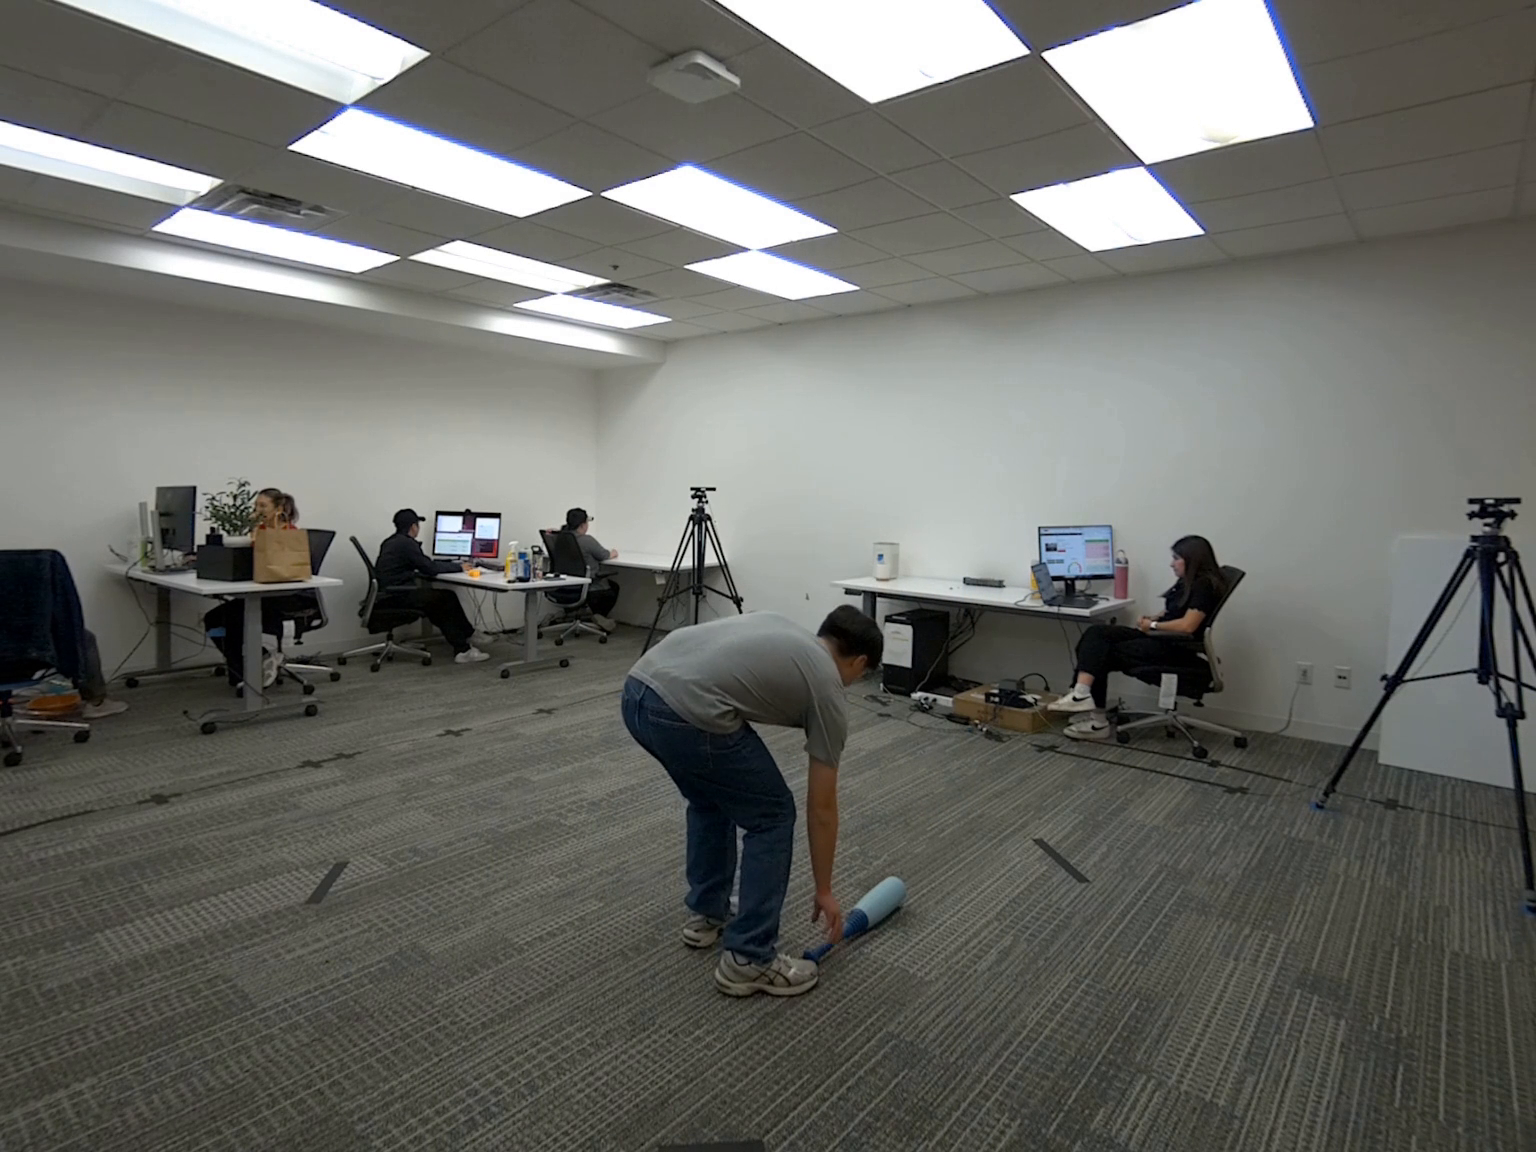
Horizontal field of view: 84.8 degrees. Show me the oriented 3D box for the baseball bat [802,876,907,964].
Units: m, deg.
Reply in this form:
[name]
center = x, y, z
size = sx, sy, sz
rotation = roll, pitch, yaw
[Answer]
[baseball bat]
center = 0.271, 1.084, 2.670
size = 0.092, 0.088, 0.529
rotation = 4, 10, 38
